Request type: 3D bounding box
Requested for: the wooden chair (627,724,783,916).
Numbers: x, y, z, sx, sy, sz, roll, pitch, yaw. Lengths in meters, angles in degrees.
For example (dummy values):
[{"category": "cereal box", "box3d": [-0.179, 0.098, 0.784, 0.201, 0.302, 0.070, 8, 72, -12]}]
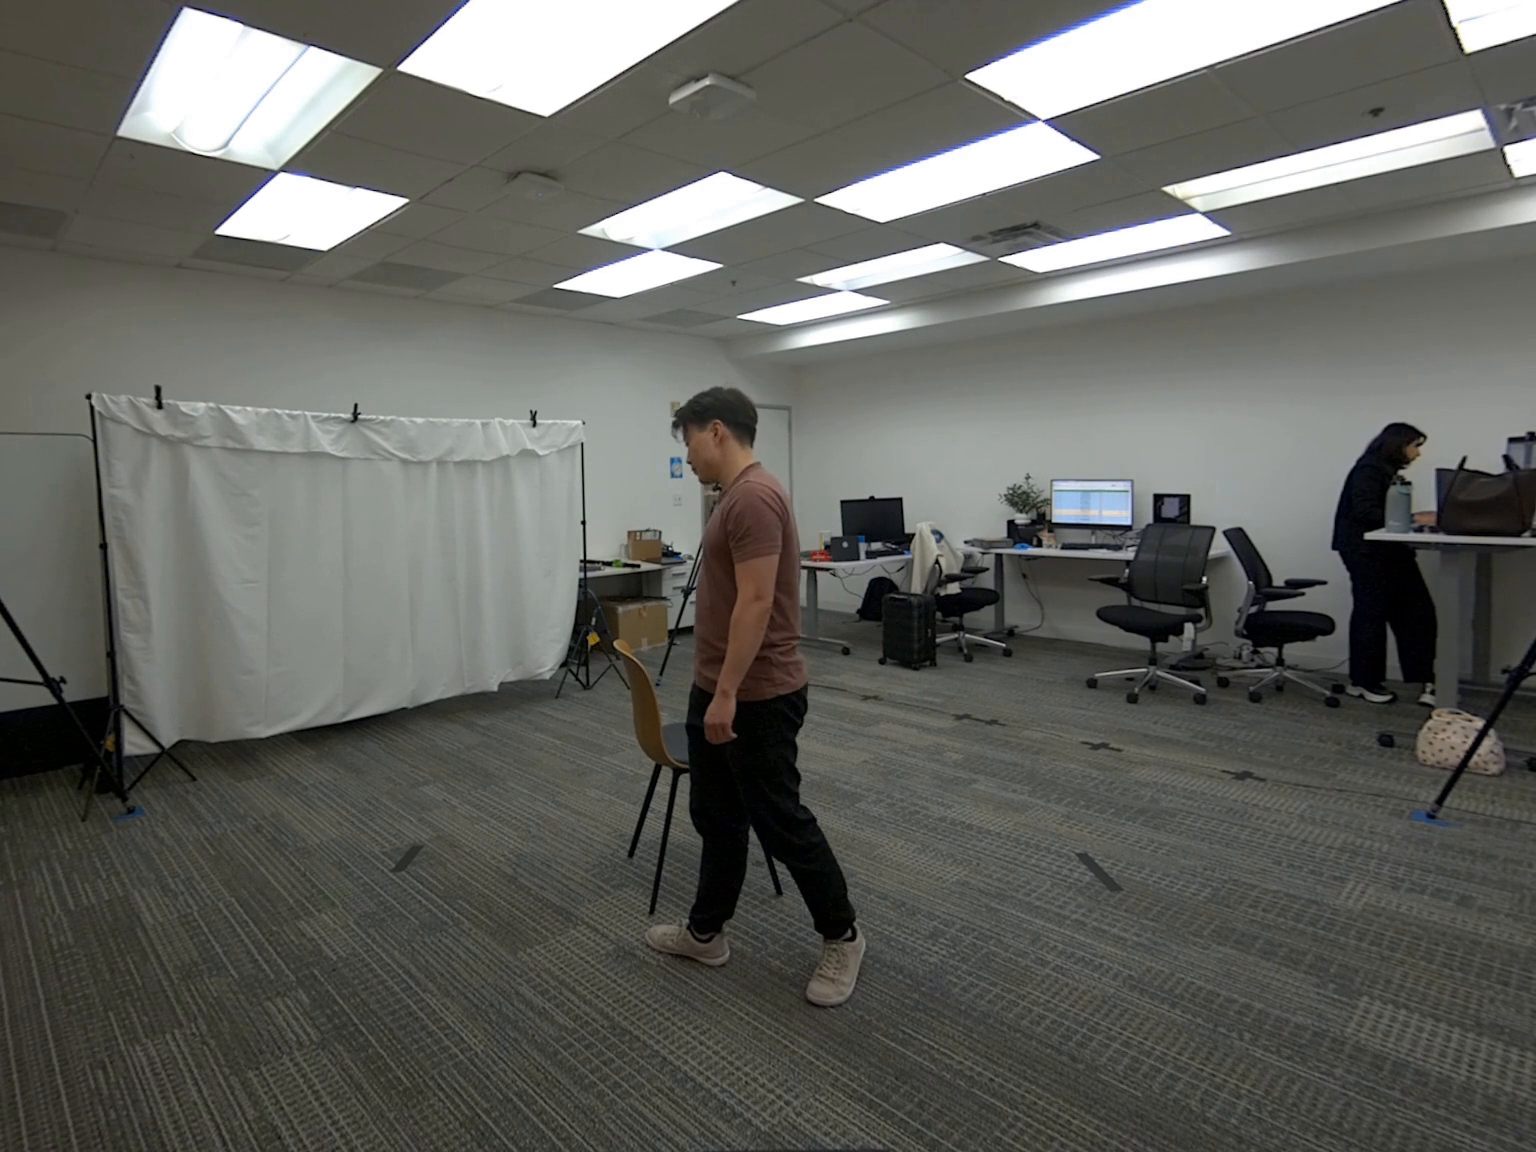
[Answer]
[{"category": "wooden chair", "box3d": [-0.235, 0.638, 2.997, 0.516, 0.873, 0.487, -6, 6, -16]}]
